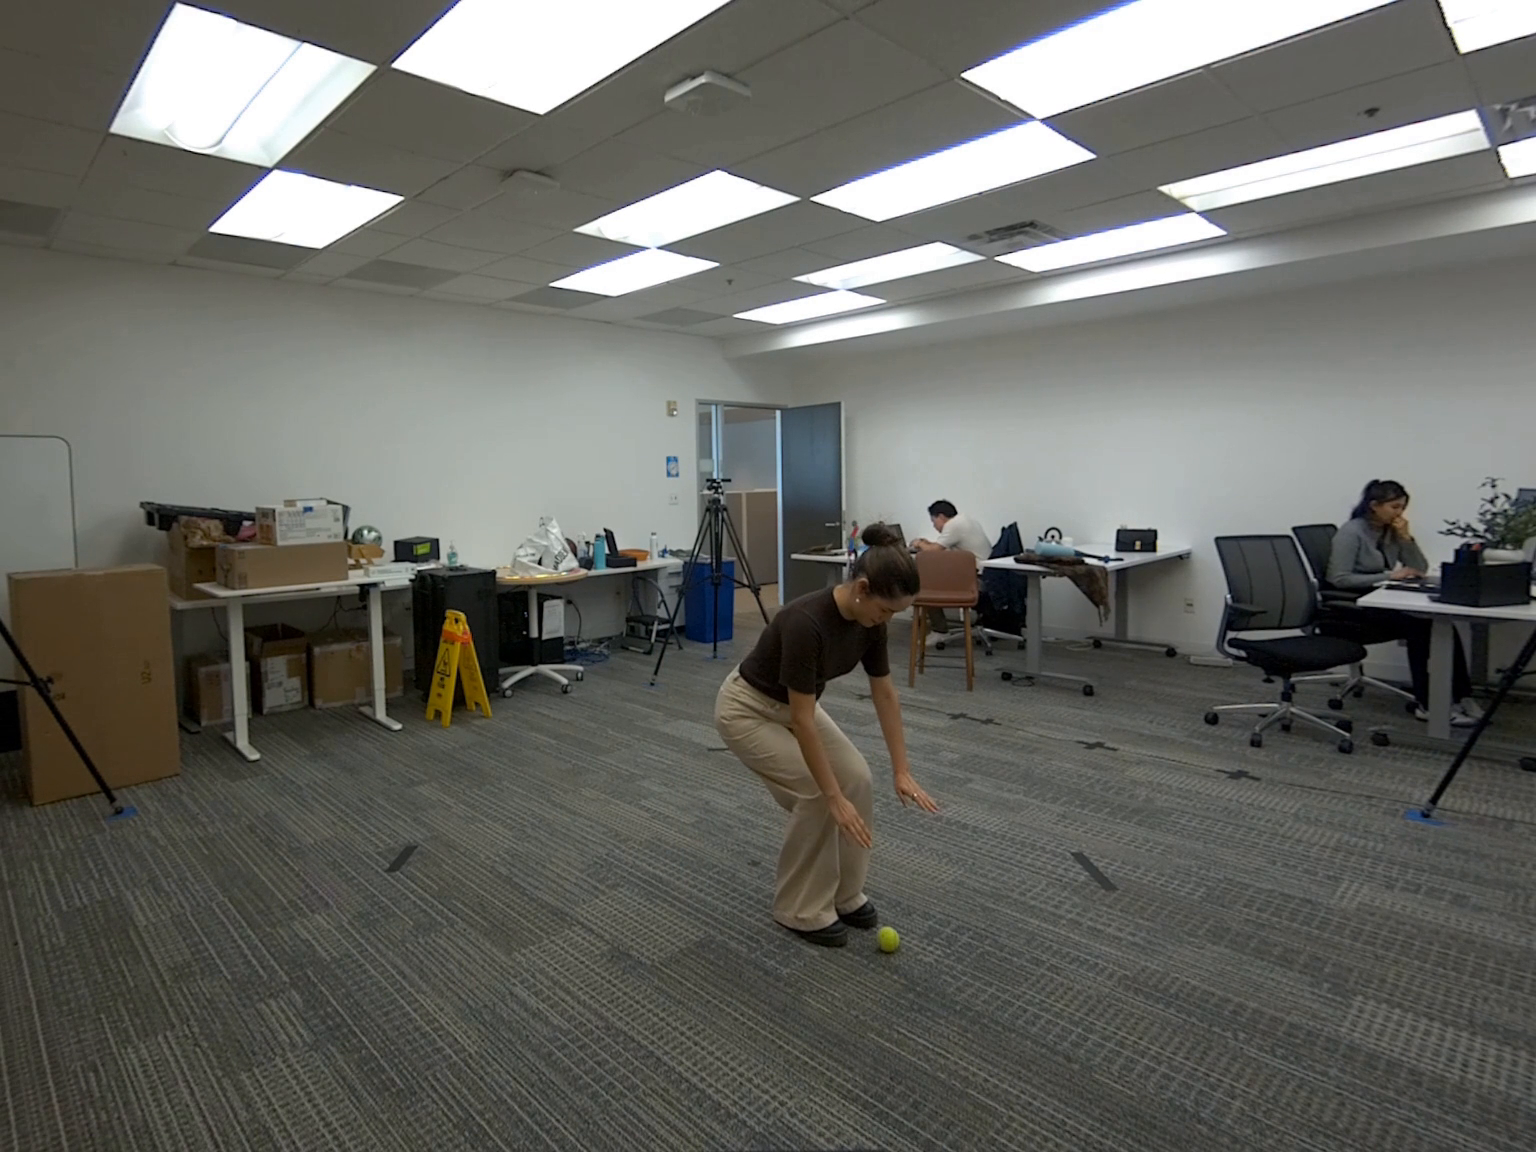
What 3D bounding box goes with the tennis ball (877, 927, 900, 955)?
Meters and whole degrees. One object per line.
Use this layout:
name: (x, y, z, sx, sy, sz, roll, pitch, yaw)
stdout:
tennis ball: (0.356, 1.057, 2.526, 0.066, 0.066, 0.067, -1, 5, -2)
